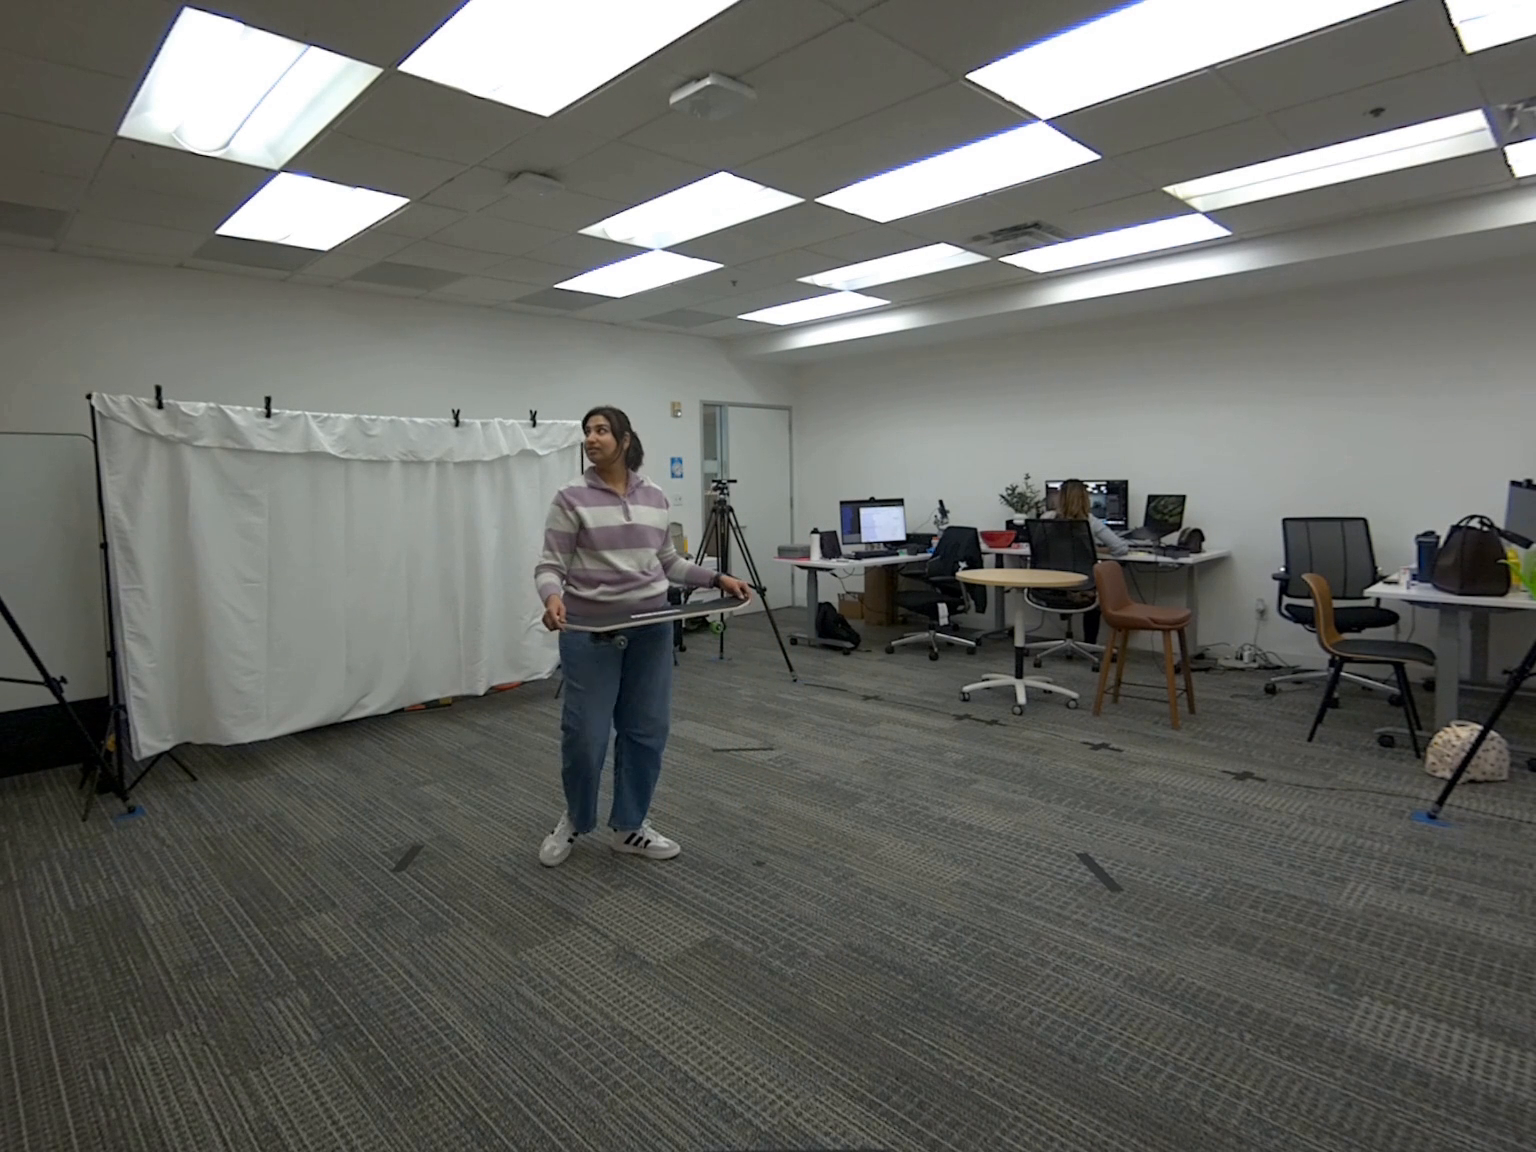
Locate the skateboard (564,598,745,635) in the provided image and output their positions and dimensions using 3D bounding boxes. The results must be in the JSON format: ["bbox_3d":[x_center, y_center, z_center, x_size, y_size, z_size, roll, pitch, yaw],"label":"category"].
[{"bbox_3d":[-0.387,0.165,2.967,0.766,0.110,0.199,-7,9,-36],"label":"skateboard"}]
